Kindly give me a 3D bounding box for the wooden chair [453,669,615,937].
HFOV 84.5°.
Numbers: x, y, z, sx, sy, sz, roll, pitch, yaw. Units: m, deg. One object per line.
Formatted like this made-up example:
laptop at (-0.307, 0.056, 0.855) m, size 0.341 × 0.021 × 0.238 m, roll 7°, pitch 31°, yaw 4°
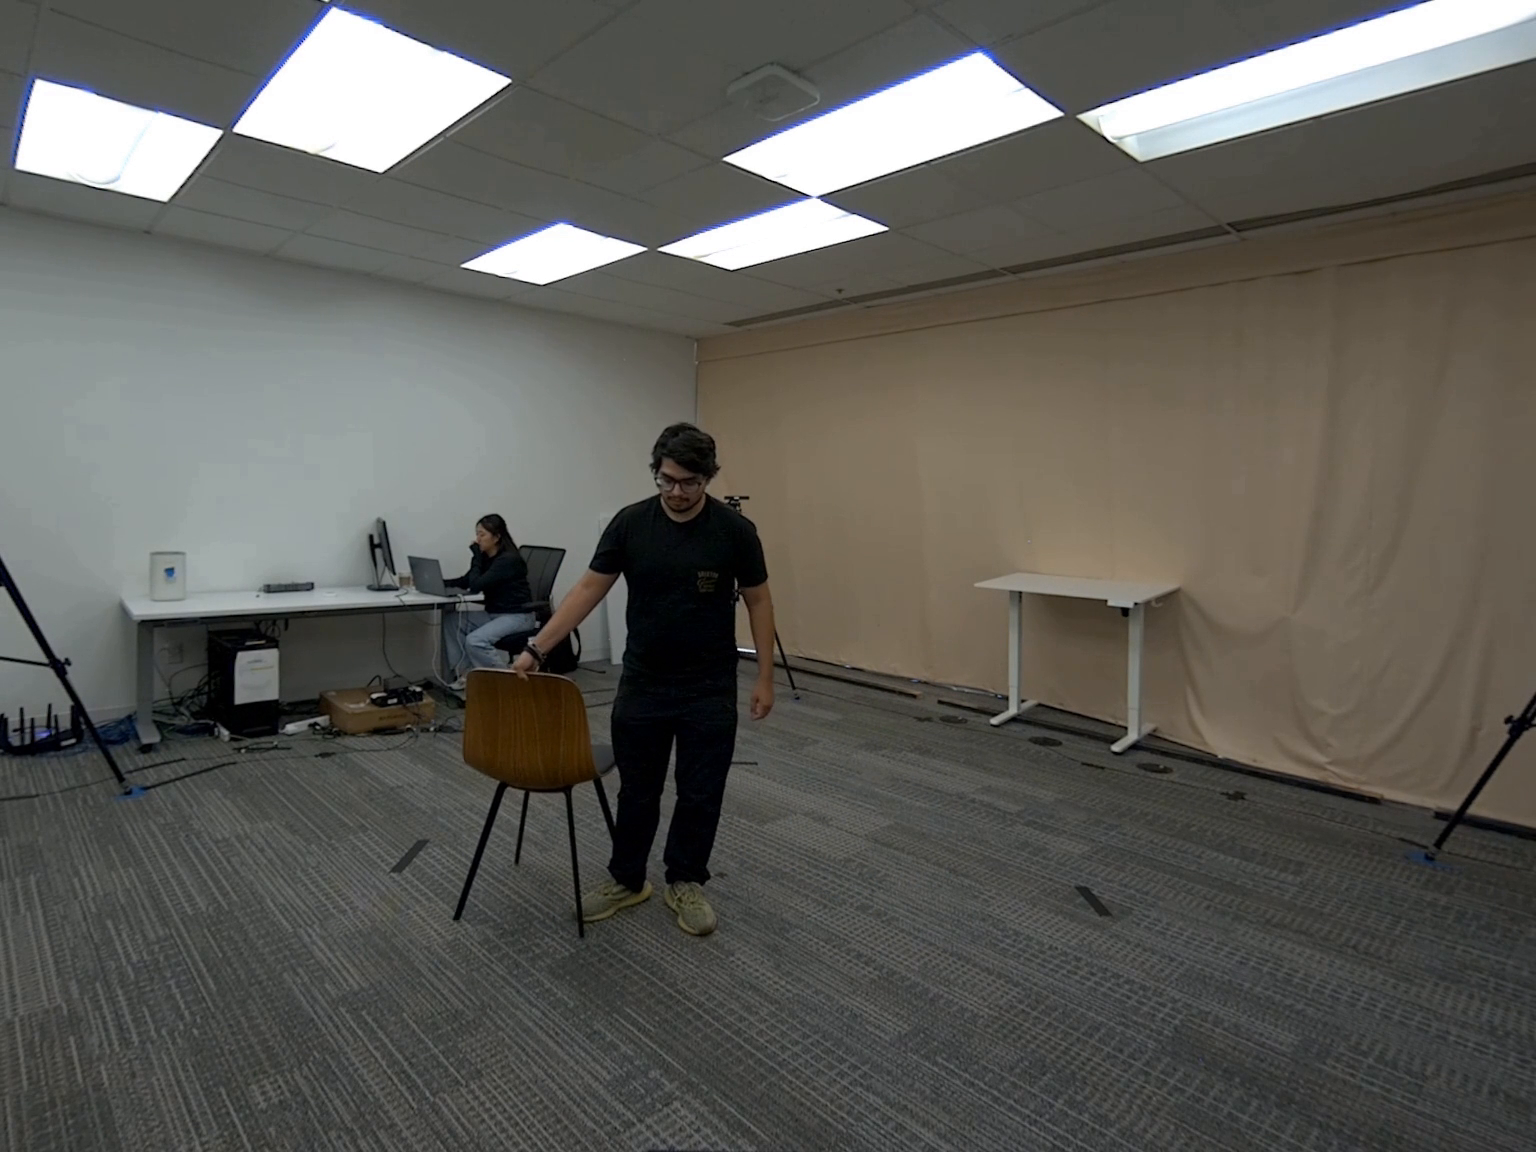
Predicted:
wooden chair at (-0.757, 0.683, 2.880) m, size 0.482 × 0.872 × 0.521 m, roll 1°, pitch 8°, yaw 10°
